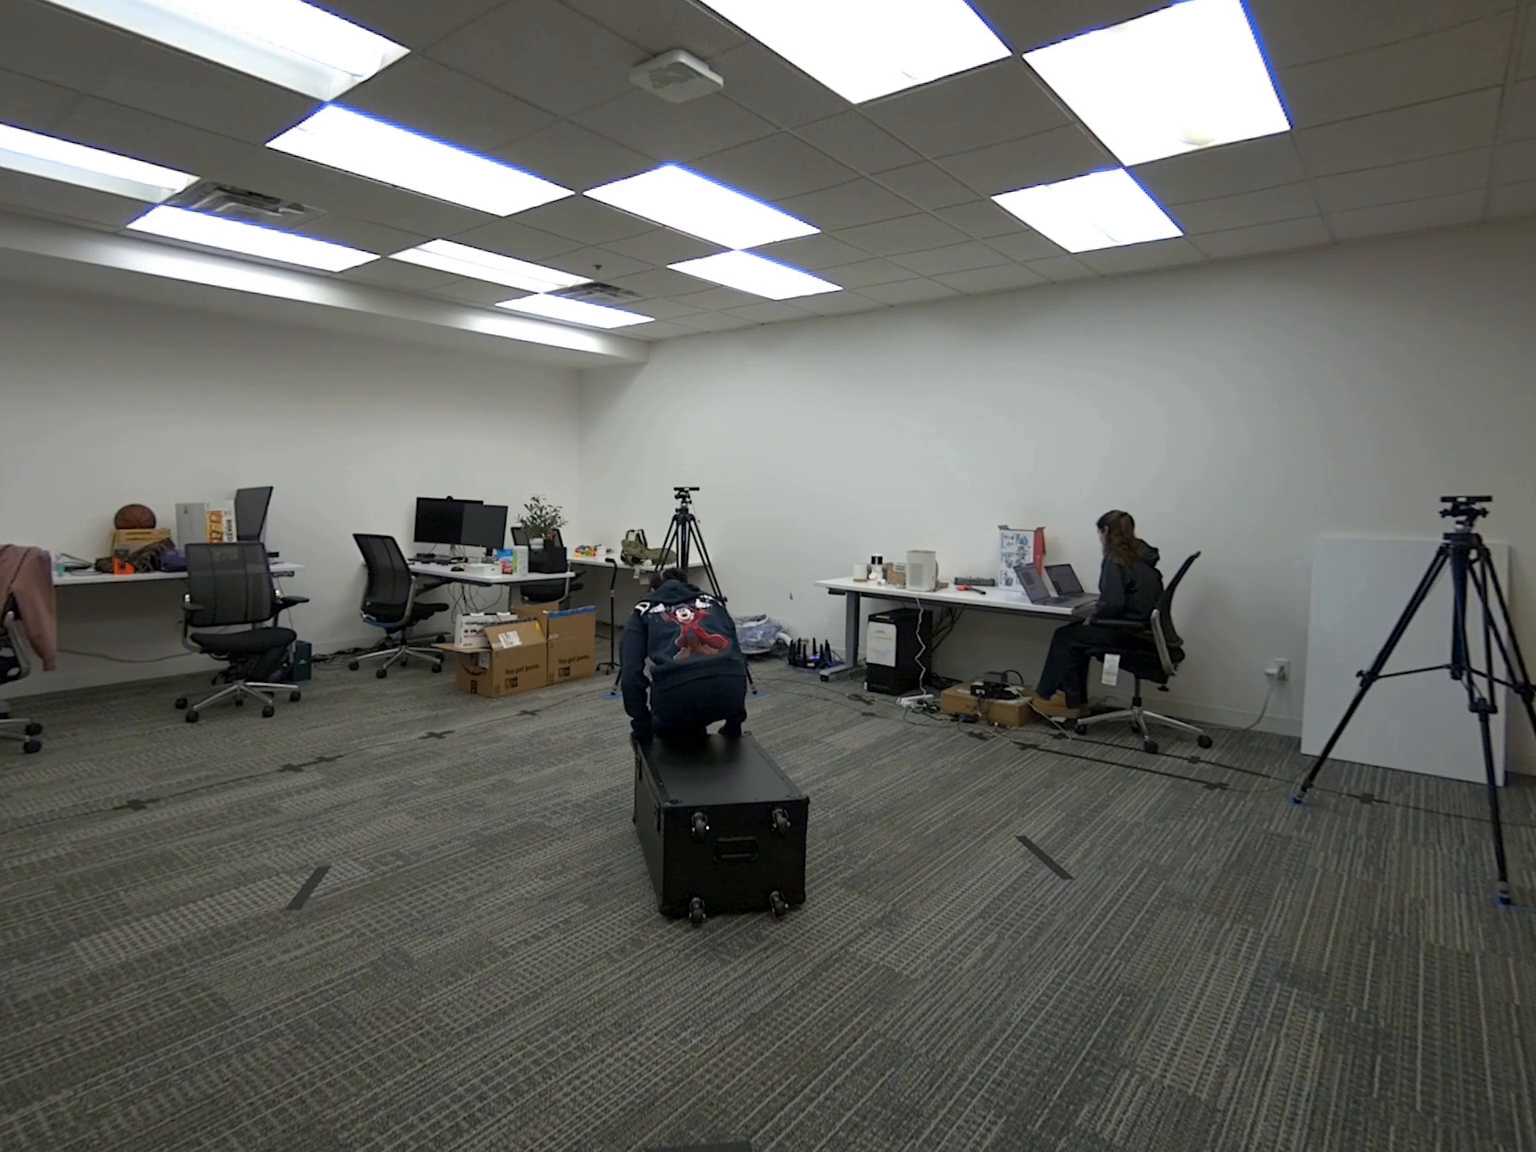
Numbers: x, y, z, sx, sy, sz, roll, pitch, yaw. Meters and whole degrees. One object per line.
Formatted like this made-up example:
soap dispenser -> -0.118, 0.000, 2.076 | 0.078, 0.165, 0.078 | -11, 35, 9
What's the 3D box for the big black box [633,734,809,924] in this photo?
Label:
big black box -> -0.205, 0.873, 3.092 | 0.514, 0.395, 0.877 | 0, 4, -15
